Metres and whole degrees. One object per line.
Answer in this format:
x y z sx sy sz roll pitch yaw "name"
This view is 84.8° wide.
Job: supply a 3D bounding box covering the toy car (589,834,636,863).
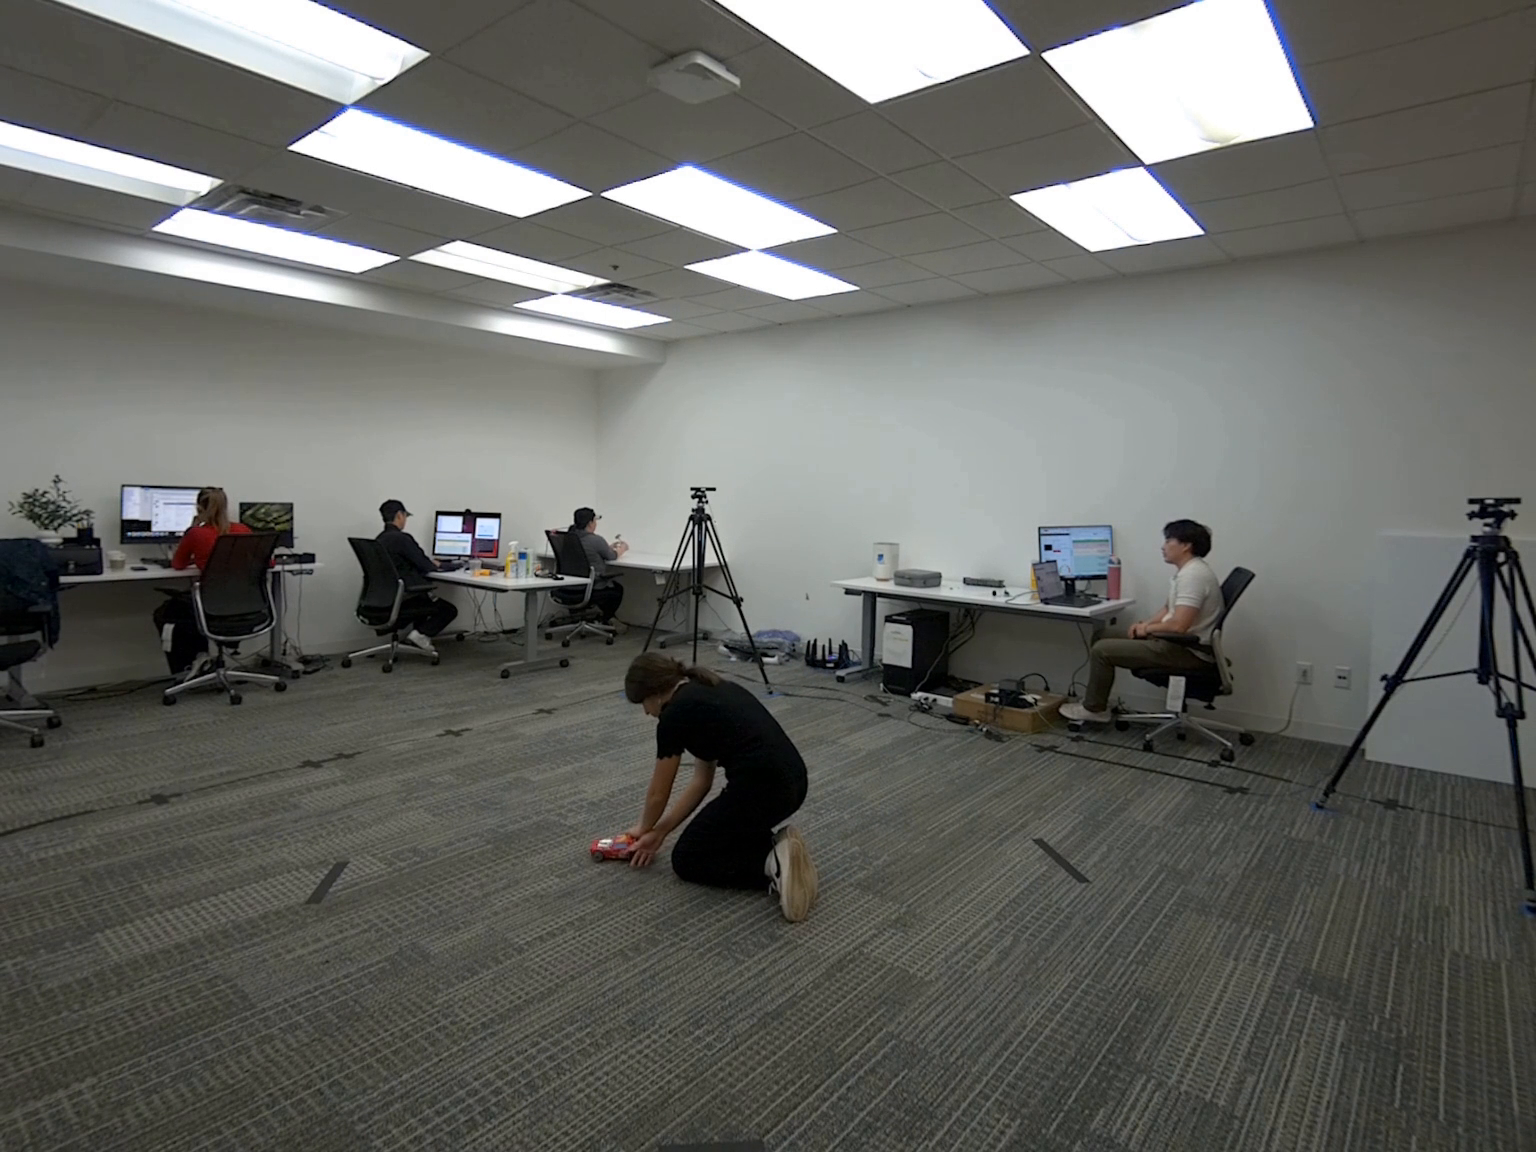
-0.549 1.020 3.198 0.255 0.083 0.131 -11 4 1 "toy car"
